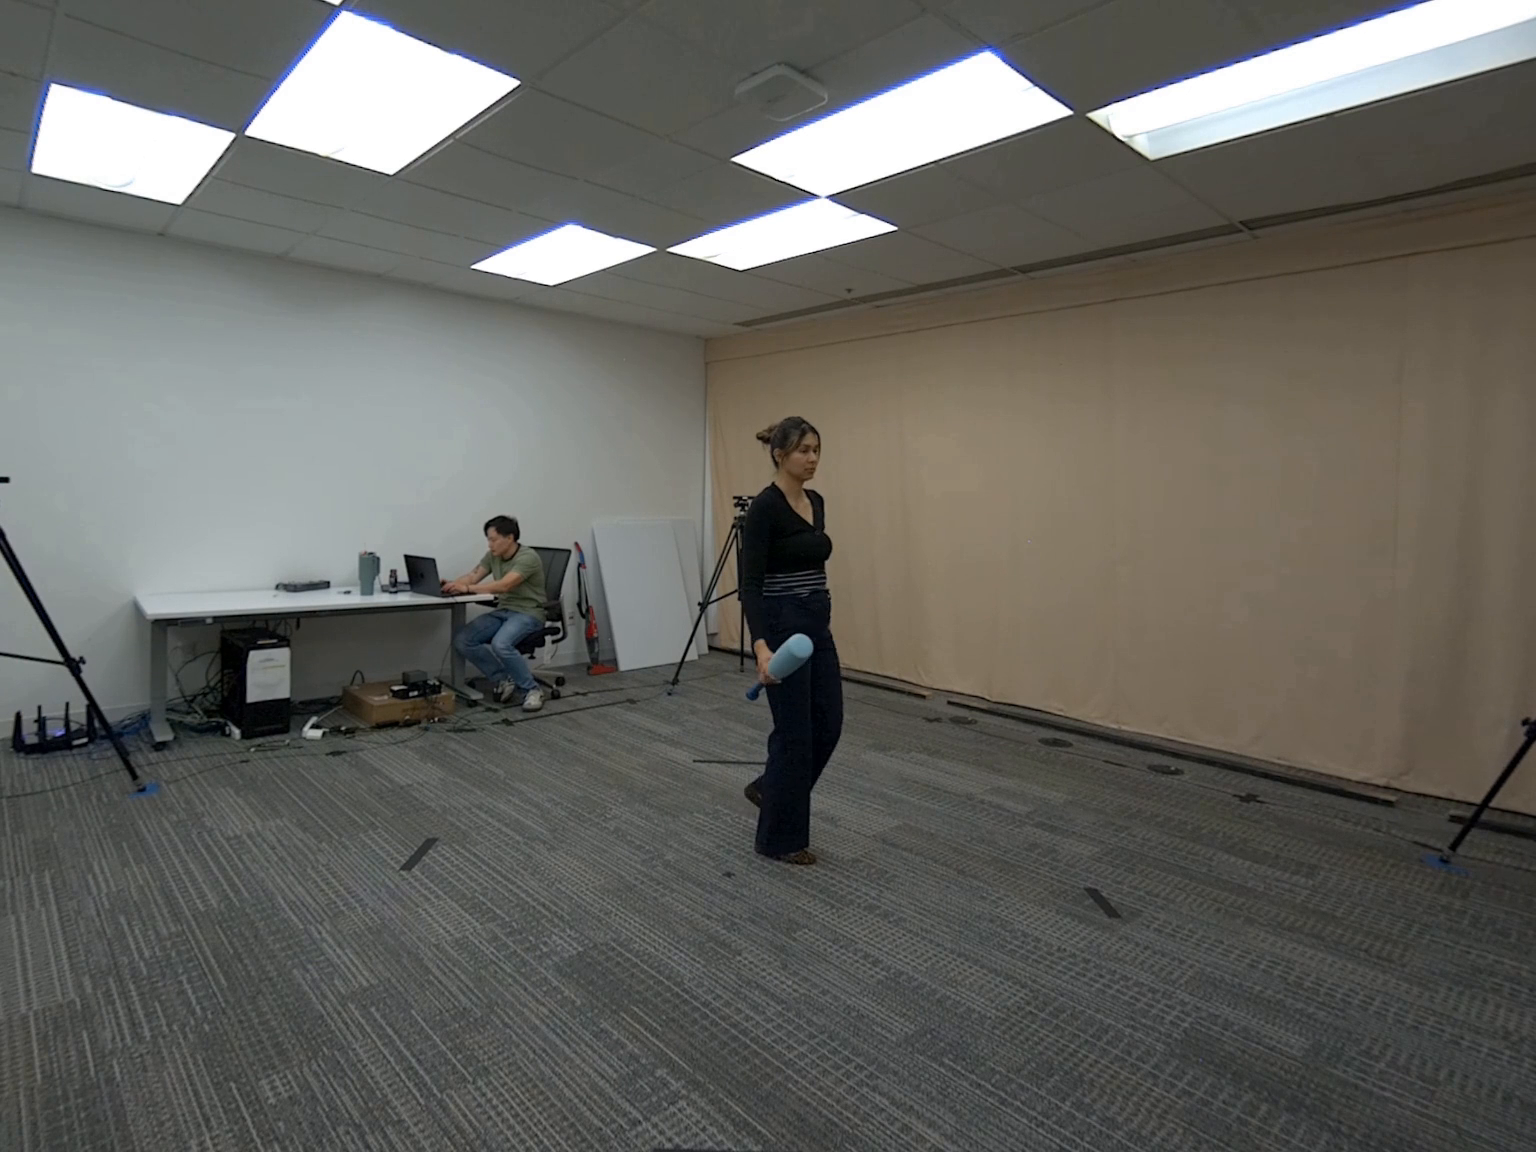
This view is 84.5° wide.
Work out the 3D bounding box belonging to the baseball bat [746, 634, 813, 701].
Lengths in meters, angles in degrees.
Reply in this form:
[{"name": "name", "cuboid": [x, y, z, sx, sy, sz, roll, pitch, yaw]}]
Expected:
[{"name": "baseball bat", "cuboid": [0.021, 0.315, 2.864, 0.088, 0.091, 0.540, 1, -24, -18]}]
